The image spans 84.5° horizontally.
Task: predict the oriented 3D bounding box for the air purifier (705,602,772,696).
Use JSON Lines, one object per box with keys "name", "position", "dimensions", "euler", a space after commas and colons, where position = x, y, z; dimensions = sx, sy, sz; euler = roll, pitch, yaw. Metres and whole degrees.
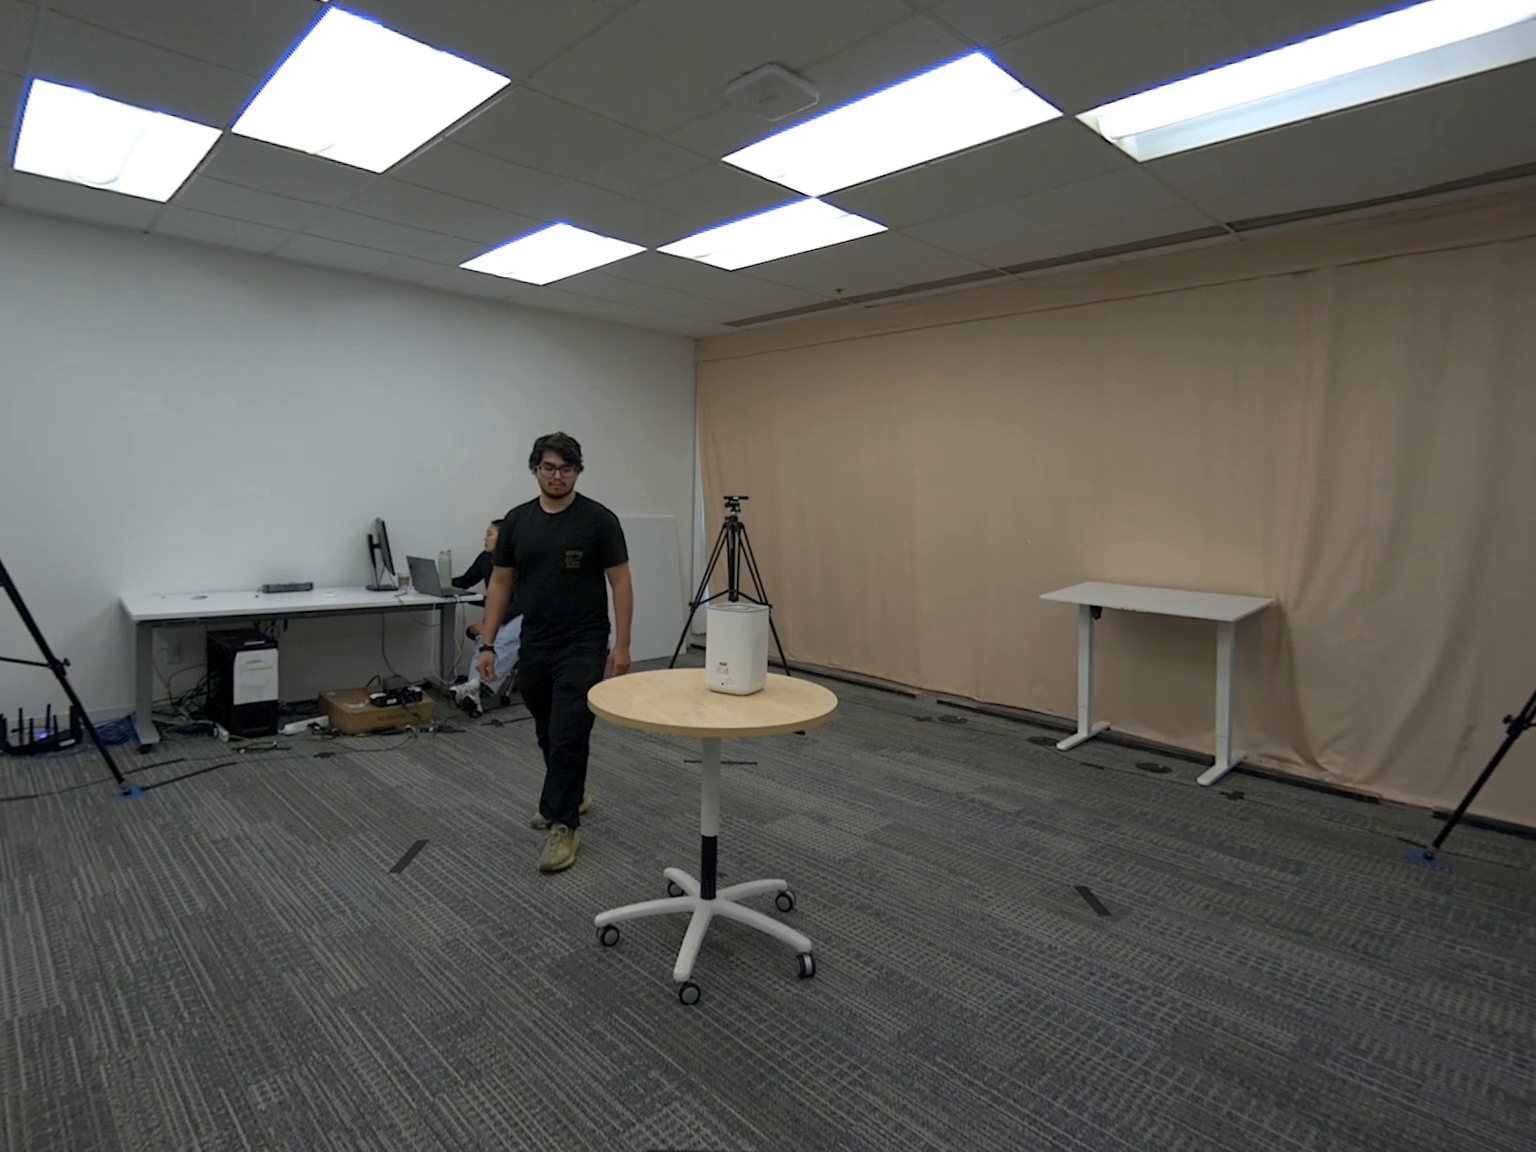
{"name": "air purifier", "position": [-0.099, 0.227, 2.652], "dimensions": [0.174, 0.265, 0.168], "euler": [3, 3, 27]}
